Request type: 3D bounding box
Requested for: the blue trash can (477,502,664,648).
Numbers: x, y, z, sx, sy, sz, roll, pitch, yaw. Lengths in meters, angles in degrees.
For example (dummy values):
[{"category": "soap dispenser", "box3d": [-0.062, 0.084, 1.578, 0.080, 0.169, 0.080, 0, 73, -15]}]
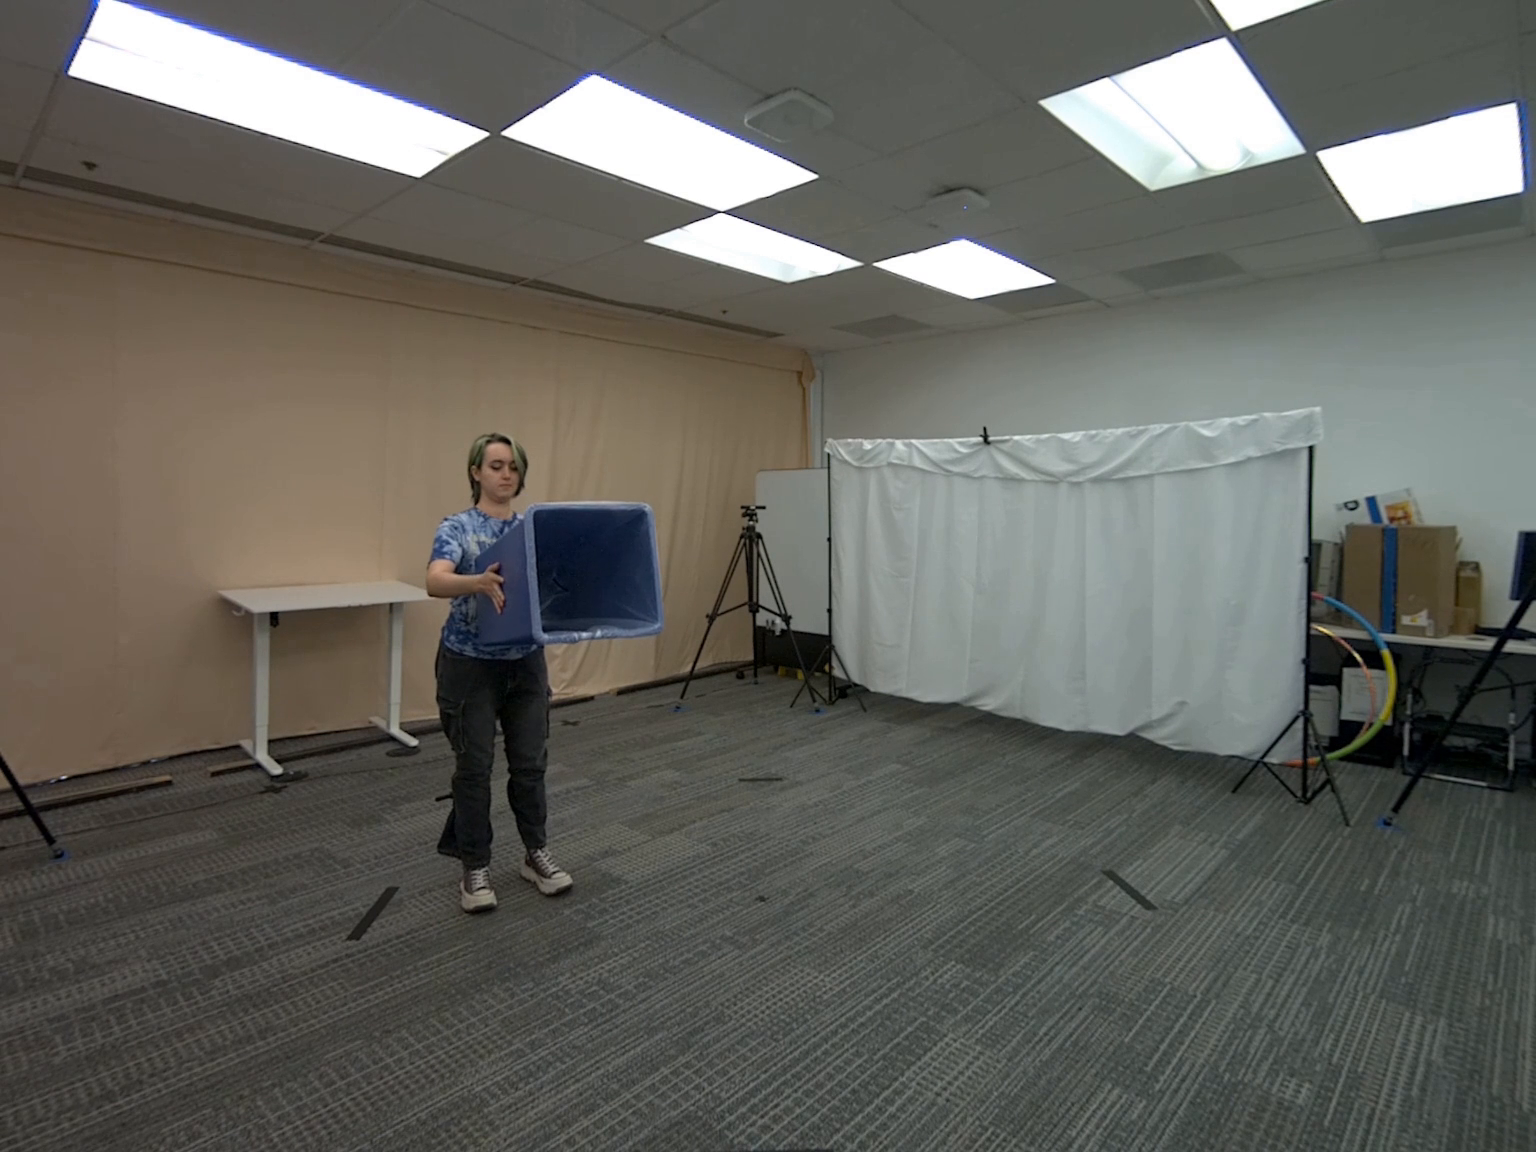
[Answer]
[{"category": "blue trash can", "box3d": [-0.648, 0.024, 2.540, 0.367, 0.376, 0.731, -2, -6, -33]}]
